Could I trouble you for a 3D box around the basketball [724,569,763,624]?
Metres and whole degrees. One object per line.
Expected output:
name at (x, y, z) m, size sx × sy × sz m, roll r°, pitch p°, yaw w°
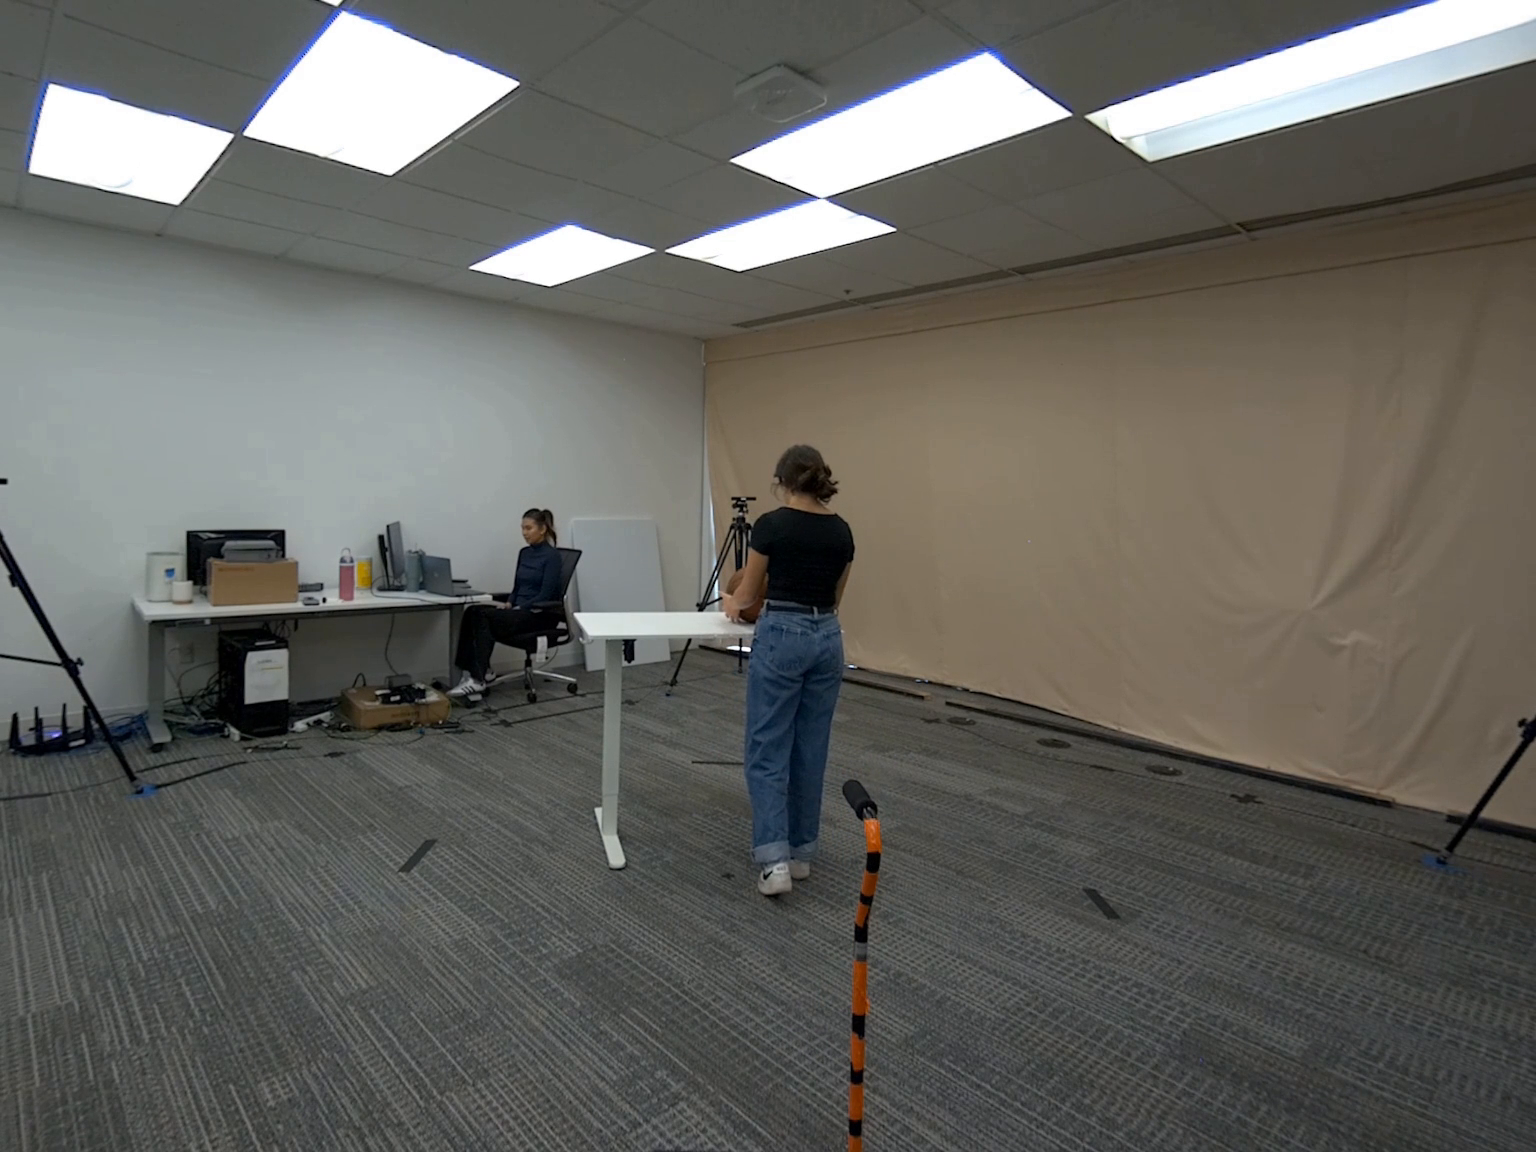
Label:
basketball at (-0.052, 0.075, 3.497) m, size 0.236 × 0.235 × 0.237 m, roll 1°, pitch 4°, yaw -1°
